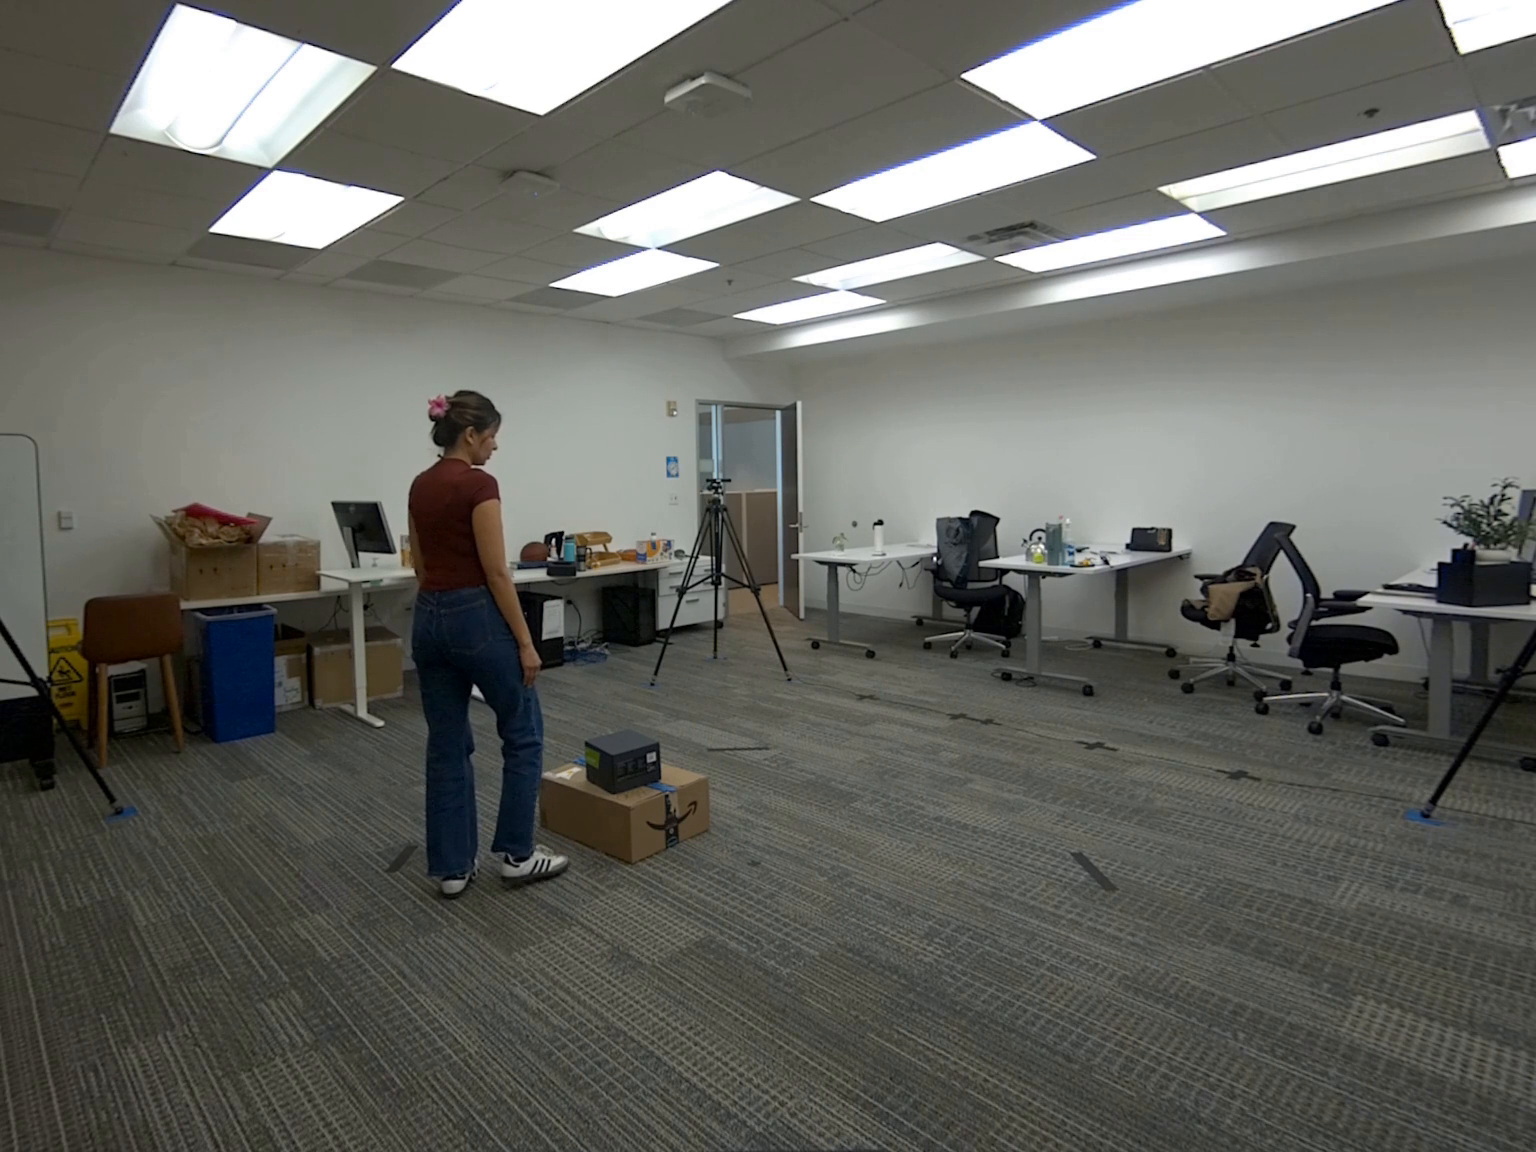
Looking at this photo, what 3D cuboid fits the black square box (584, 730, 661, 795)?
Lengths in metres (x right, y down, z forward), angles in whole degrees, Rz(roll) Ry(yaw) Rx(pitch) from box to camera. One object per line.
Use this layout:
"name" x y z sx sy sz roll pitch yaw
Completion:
"black square box" -0.574 0.724 3.366 0.212 0.155 0.235 -8 9 -38
